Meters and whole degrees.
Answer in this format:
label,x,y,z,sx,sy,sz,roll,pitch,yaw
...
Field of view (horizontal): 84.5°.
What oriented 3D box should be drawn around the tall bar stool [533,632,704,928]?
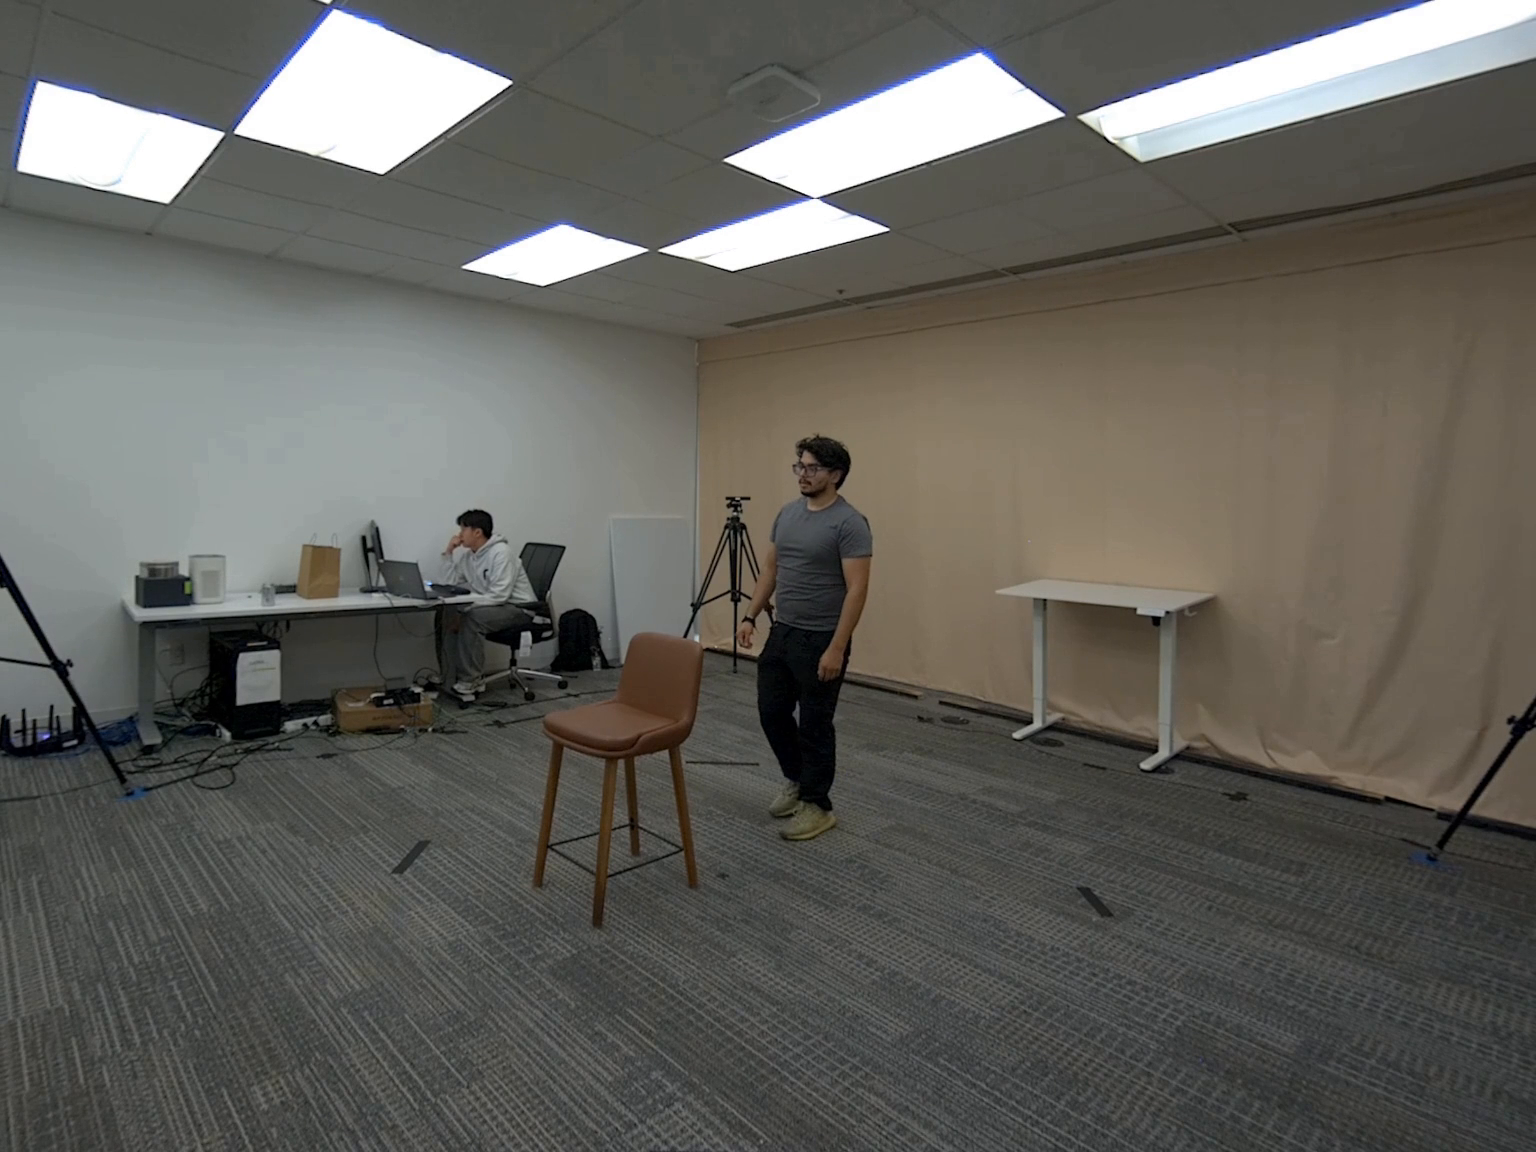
label,x,y,z,sx,sy,sz,roll,pitch,yaw
tall bar stool,-0.528,0.675,2.978,0.456,0.888,0.468,0,3,-44
